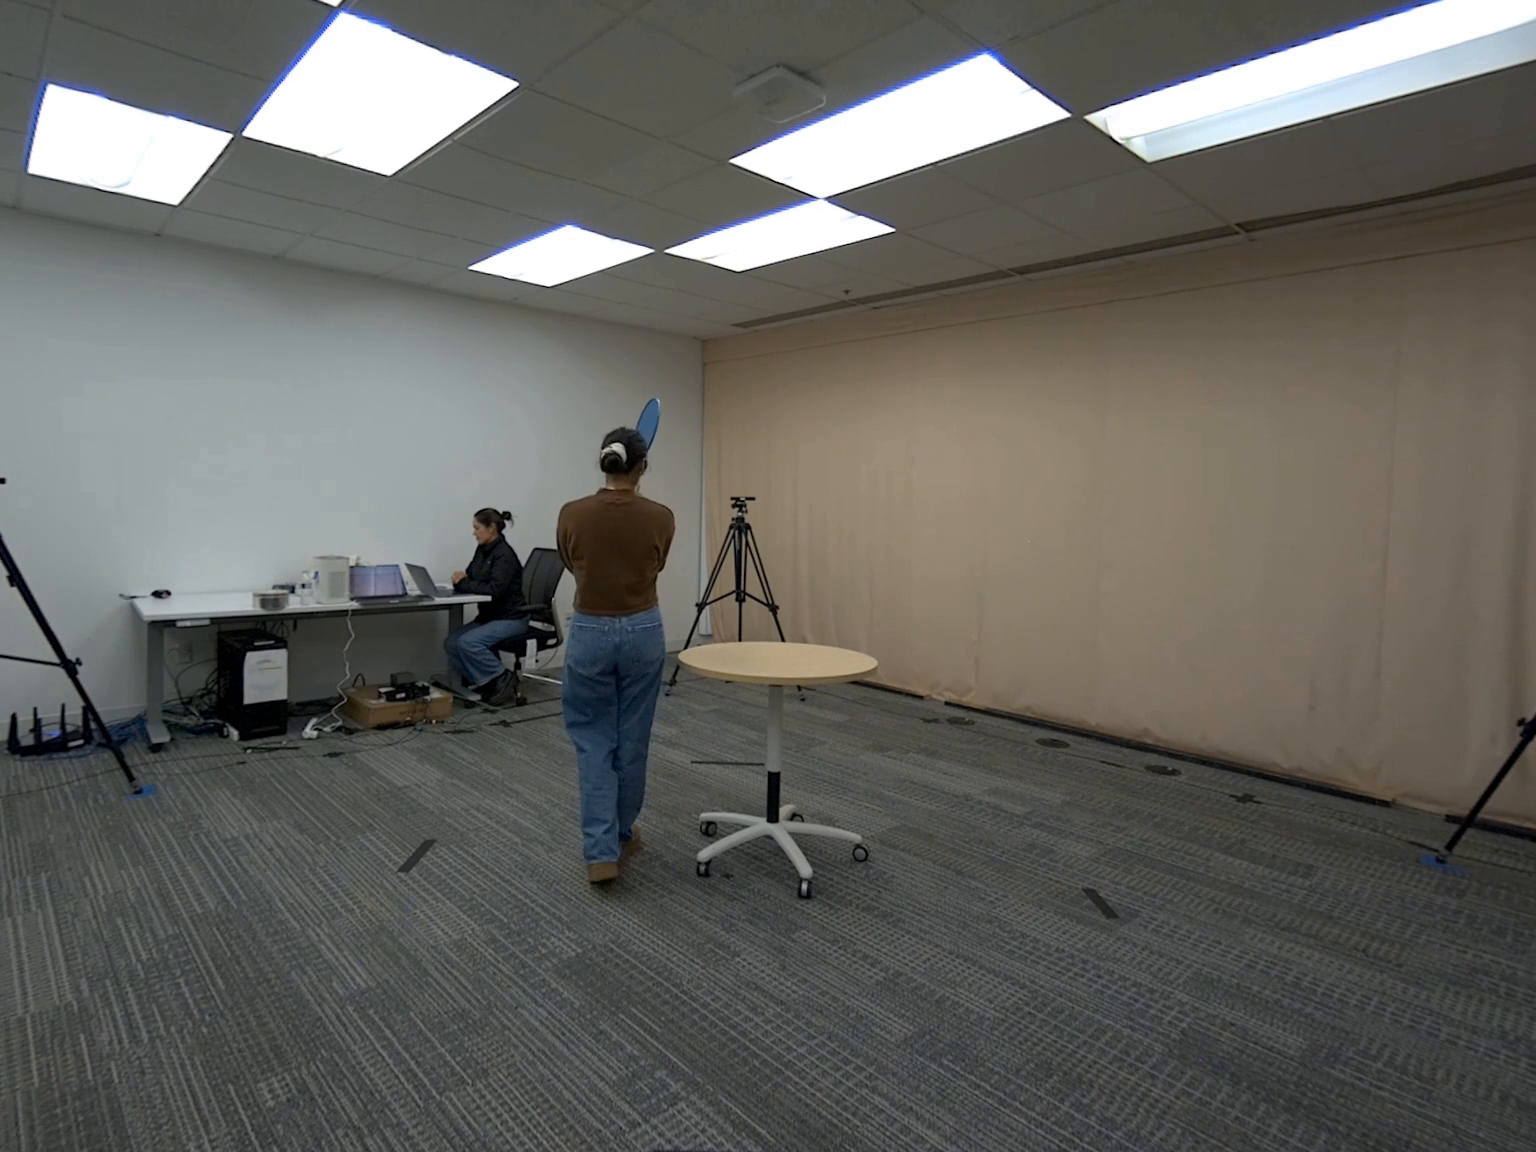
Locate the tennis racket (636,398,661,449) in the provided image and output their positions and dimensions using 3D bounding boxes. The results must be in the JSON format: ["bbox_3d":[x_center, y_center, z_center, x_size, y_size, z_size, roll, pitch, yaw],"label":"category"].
[{"bbox_3d":[-0.512,-0.504,3.330,0.031,0.435,0.218,17,-11,-29],"label":"tennis racket"}]
